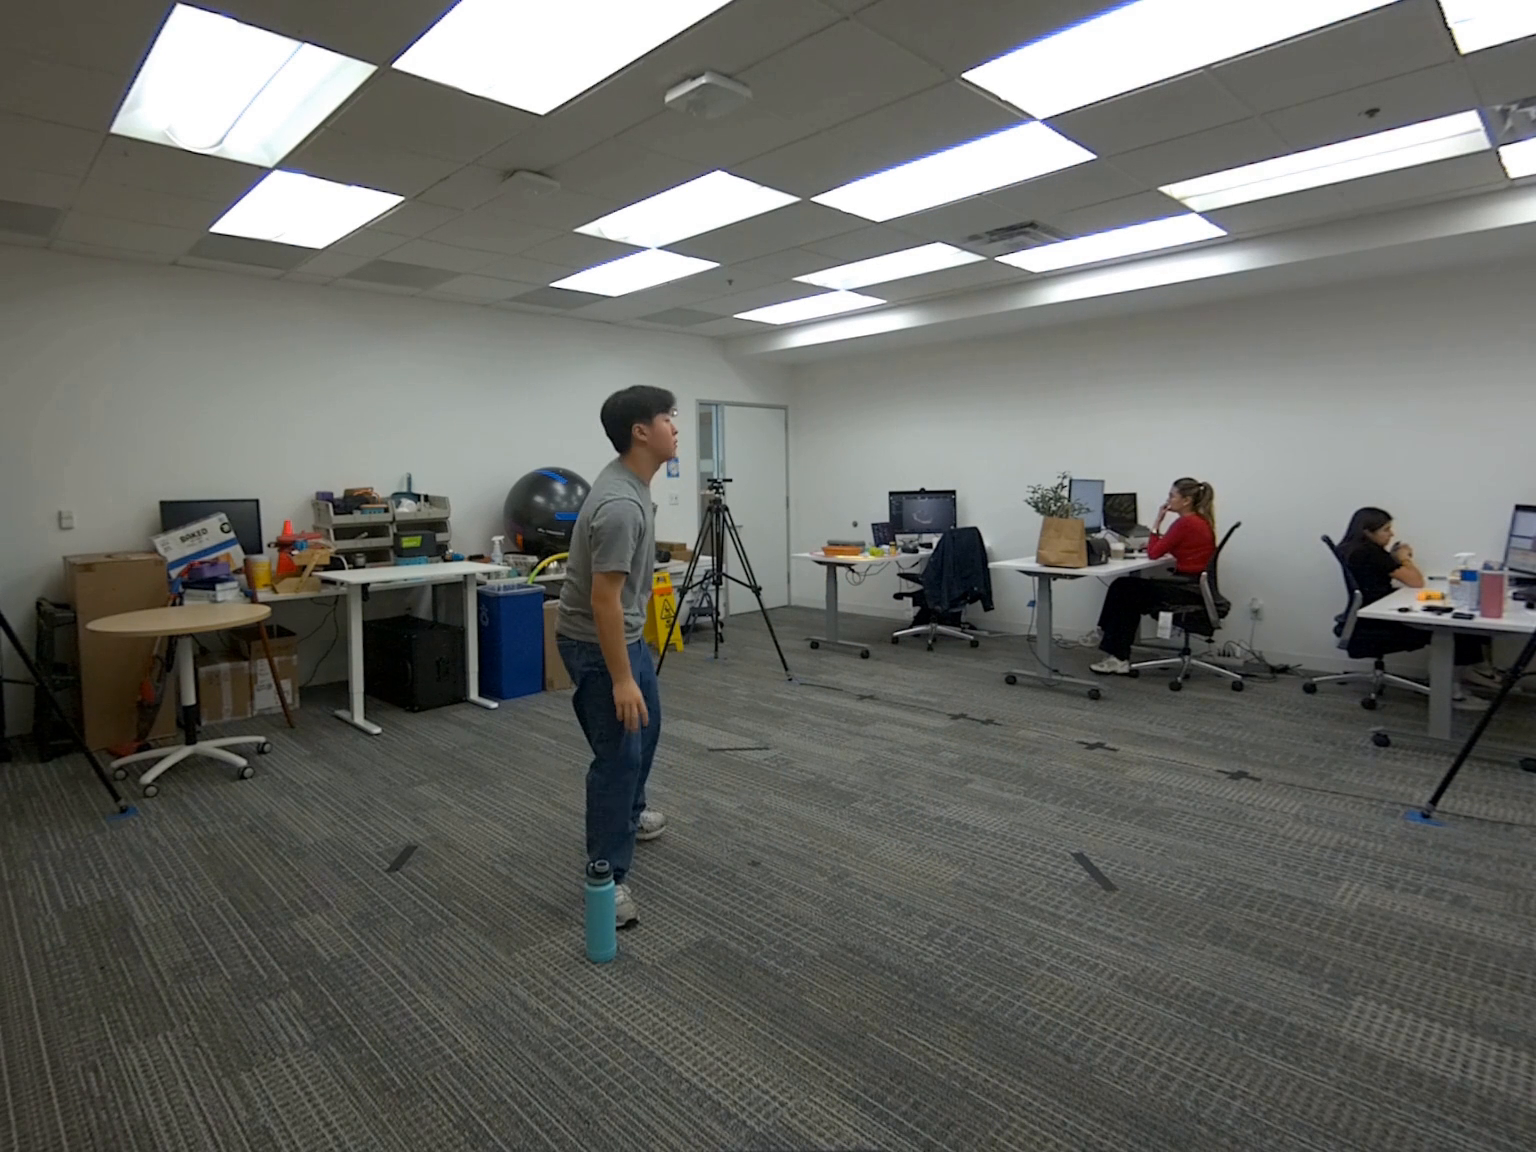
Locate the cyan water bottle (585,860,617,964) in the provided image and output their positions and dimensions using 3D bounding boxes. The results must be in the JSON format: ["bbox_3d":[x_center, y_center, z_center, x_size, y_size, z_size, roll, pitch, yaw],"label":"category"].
[{"bbox_3d":[-0.494,0.987,2.519,0.092,0.283,0.092,-2,3,-2],"label":"cyan water bottle"}]
